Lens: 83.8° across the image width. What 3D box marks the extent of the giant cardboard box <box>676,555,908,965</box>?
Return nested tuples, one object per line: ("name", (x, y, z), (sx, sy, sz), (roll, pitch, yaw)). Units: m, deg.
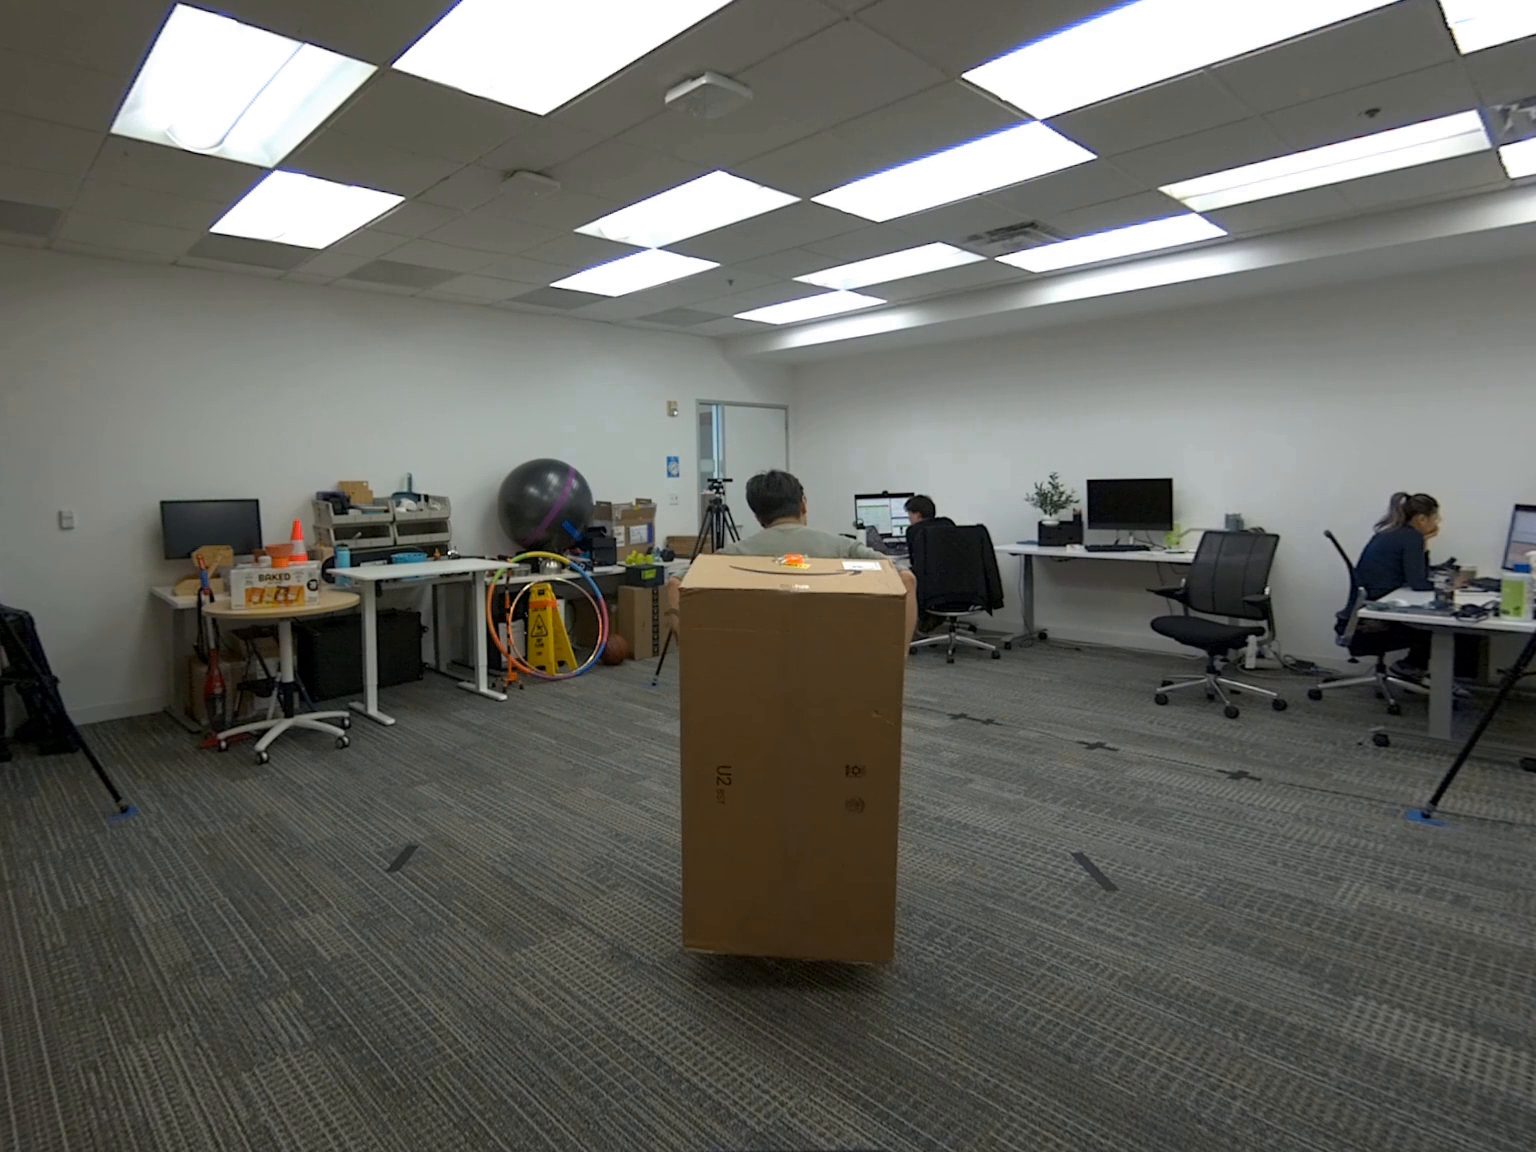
("giant cardboard box", (0.071, 0.490, 2.406), (0.581, 1.016, 0.428), (1, 10, 5))
